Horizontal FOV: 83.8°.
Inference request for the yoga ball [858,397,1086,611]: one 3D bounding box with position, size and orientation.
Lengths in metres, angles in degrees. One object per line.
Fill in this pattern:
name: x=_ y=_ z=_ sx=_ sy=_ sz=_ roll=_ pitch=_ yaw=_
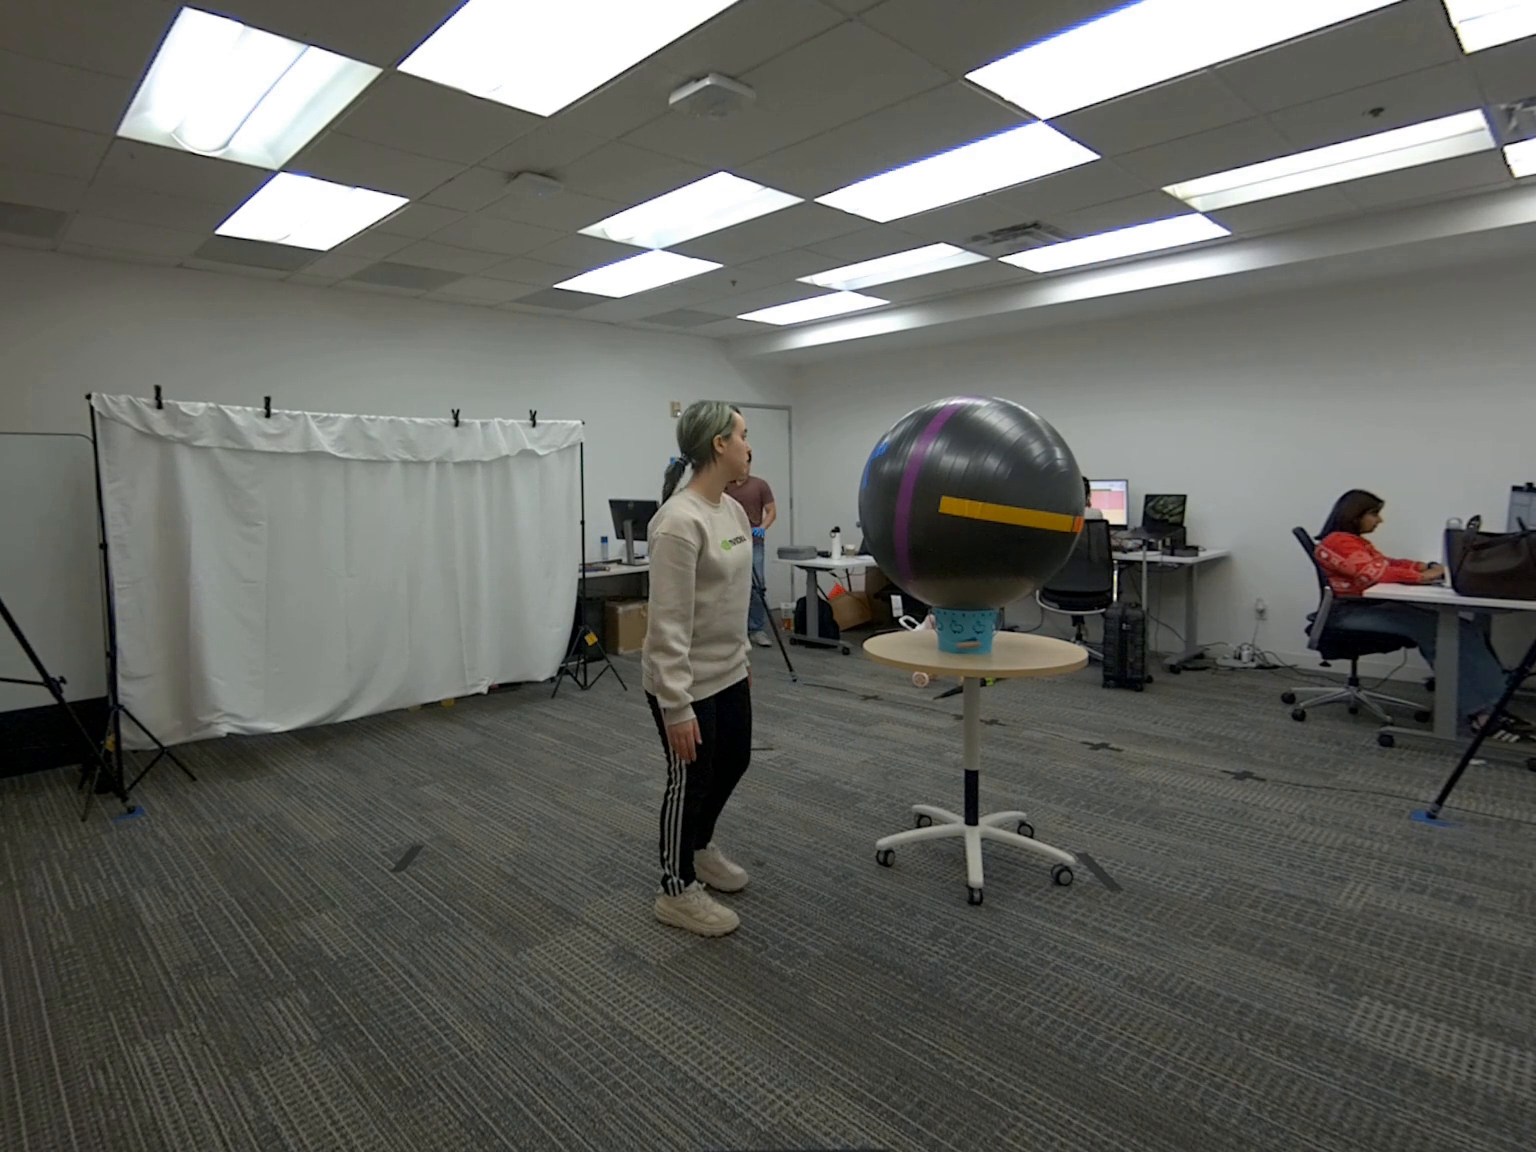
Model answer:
yoga ball: x=0.705 y=-0.249 z=2.993 sx=0.757 sy=0.755 sz=0.762 roll=-1 pitch=5 yaw=-2
